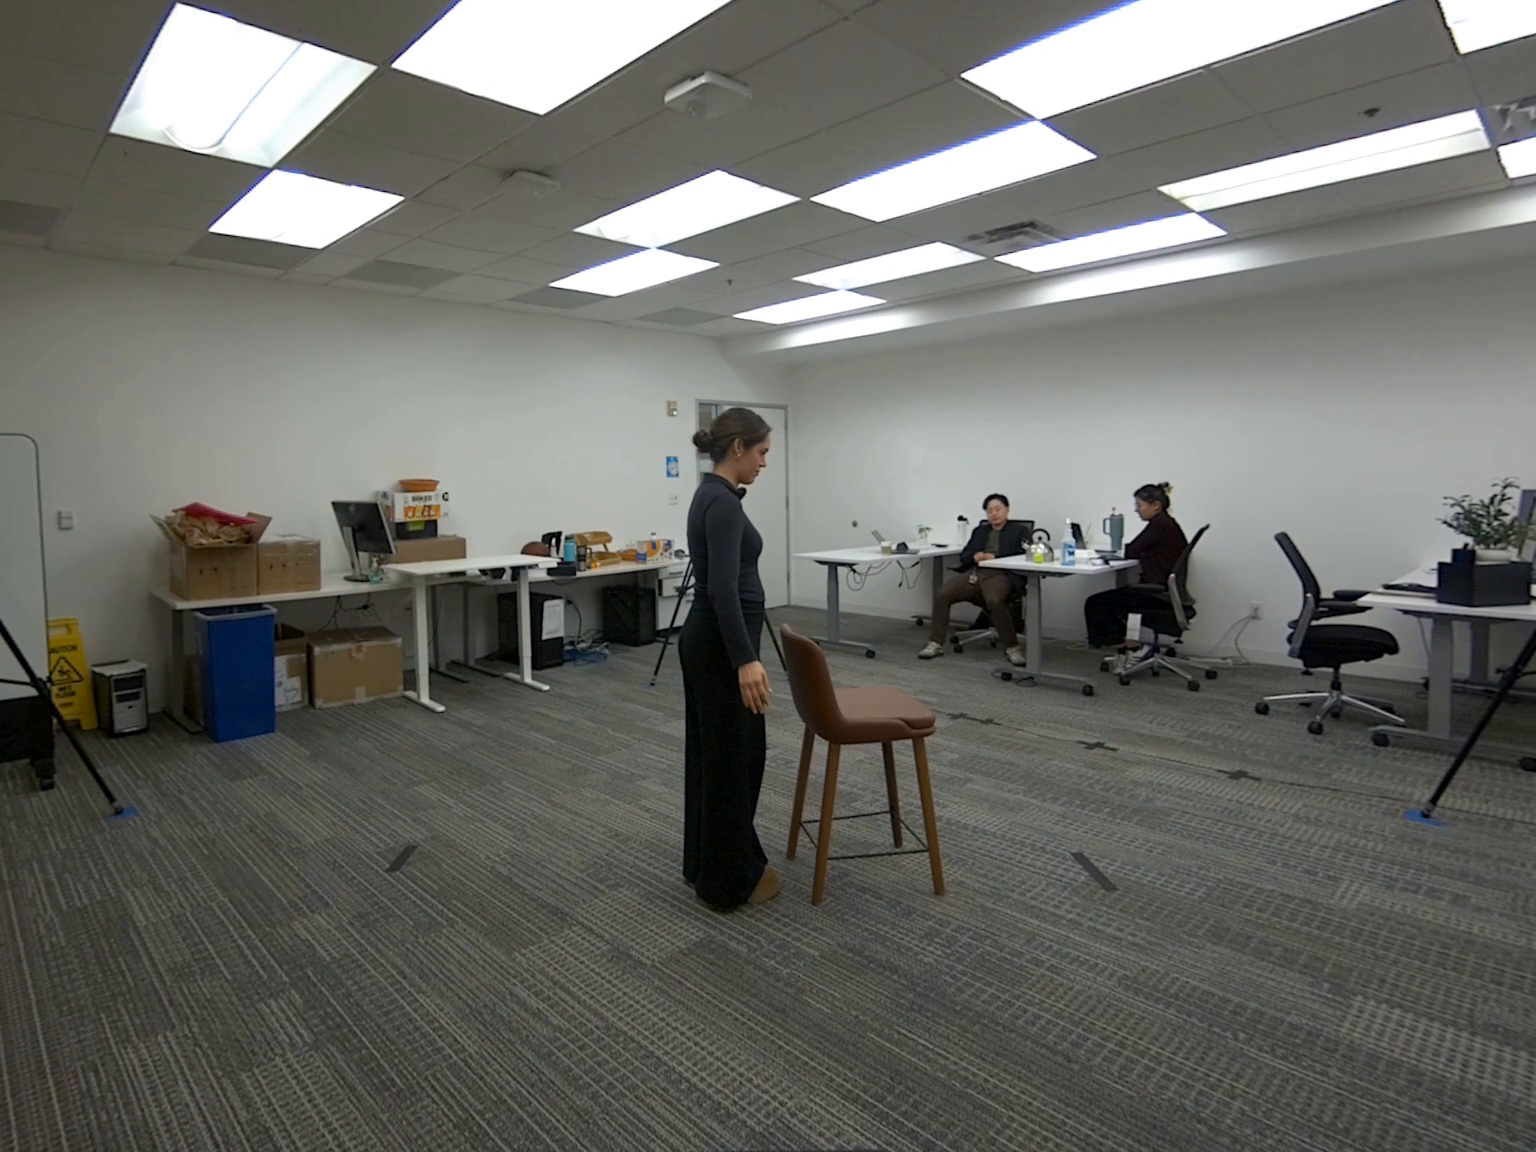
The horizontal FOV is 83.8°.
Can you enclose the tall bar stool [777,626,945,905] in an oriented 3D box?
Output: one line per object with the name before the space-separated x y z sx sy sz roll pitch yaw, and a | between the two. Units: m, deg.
tall bar stool | 0.312 0.615 2.981 0.463 0.886 0.463 -4 5 -11
